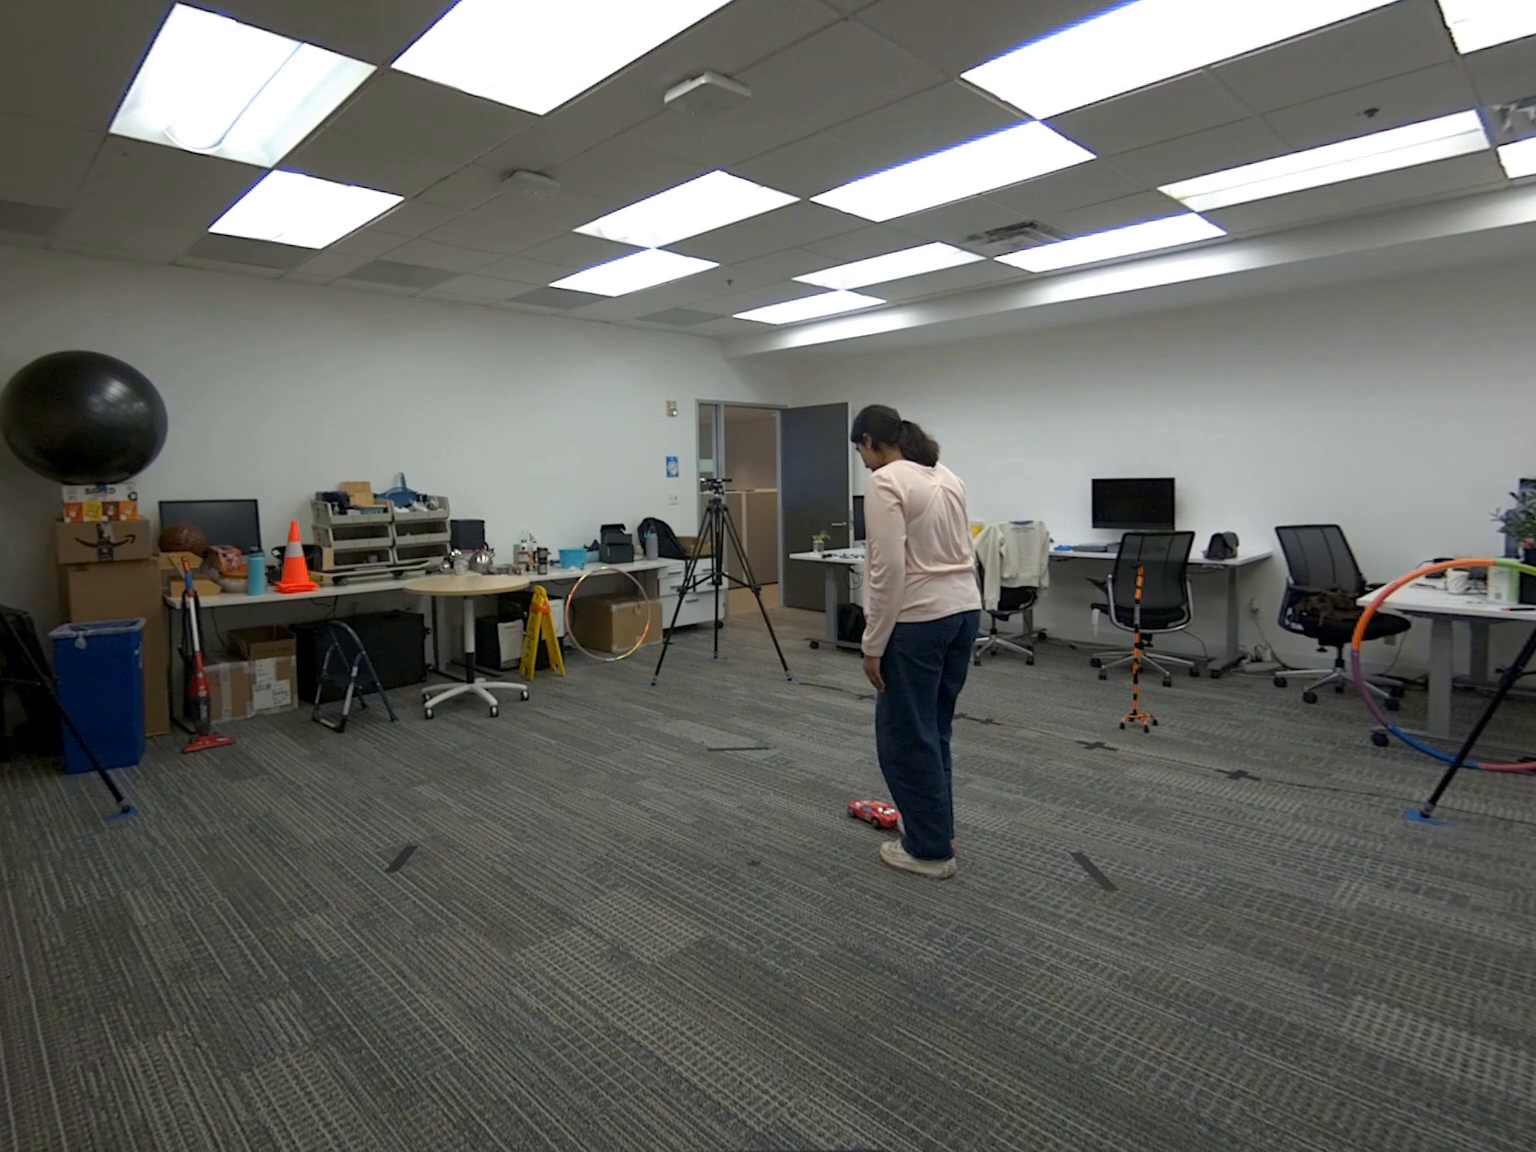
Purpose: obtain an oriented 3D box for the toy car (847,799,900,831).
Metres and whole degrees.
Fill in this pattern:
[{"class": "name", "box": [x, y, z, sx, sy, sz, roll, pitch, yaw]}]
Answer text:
[{"class": "toy car", "box": [0.438, 0.963, 3.462, 0.127, 0.084, 0.260, -3, -5, -35]}]
